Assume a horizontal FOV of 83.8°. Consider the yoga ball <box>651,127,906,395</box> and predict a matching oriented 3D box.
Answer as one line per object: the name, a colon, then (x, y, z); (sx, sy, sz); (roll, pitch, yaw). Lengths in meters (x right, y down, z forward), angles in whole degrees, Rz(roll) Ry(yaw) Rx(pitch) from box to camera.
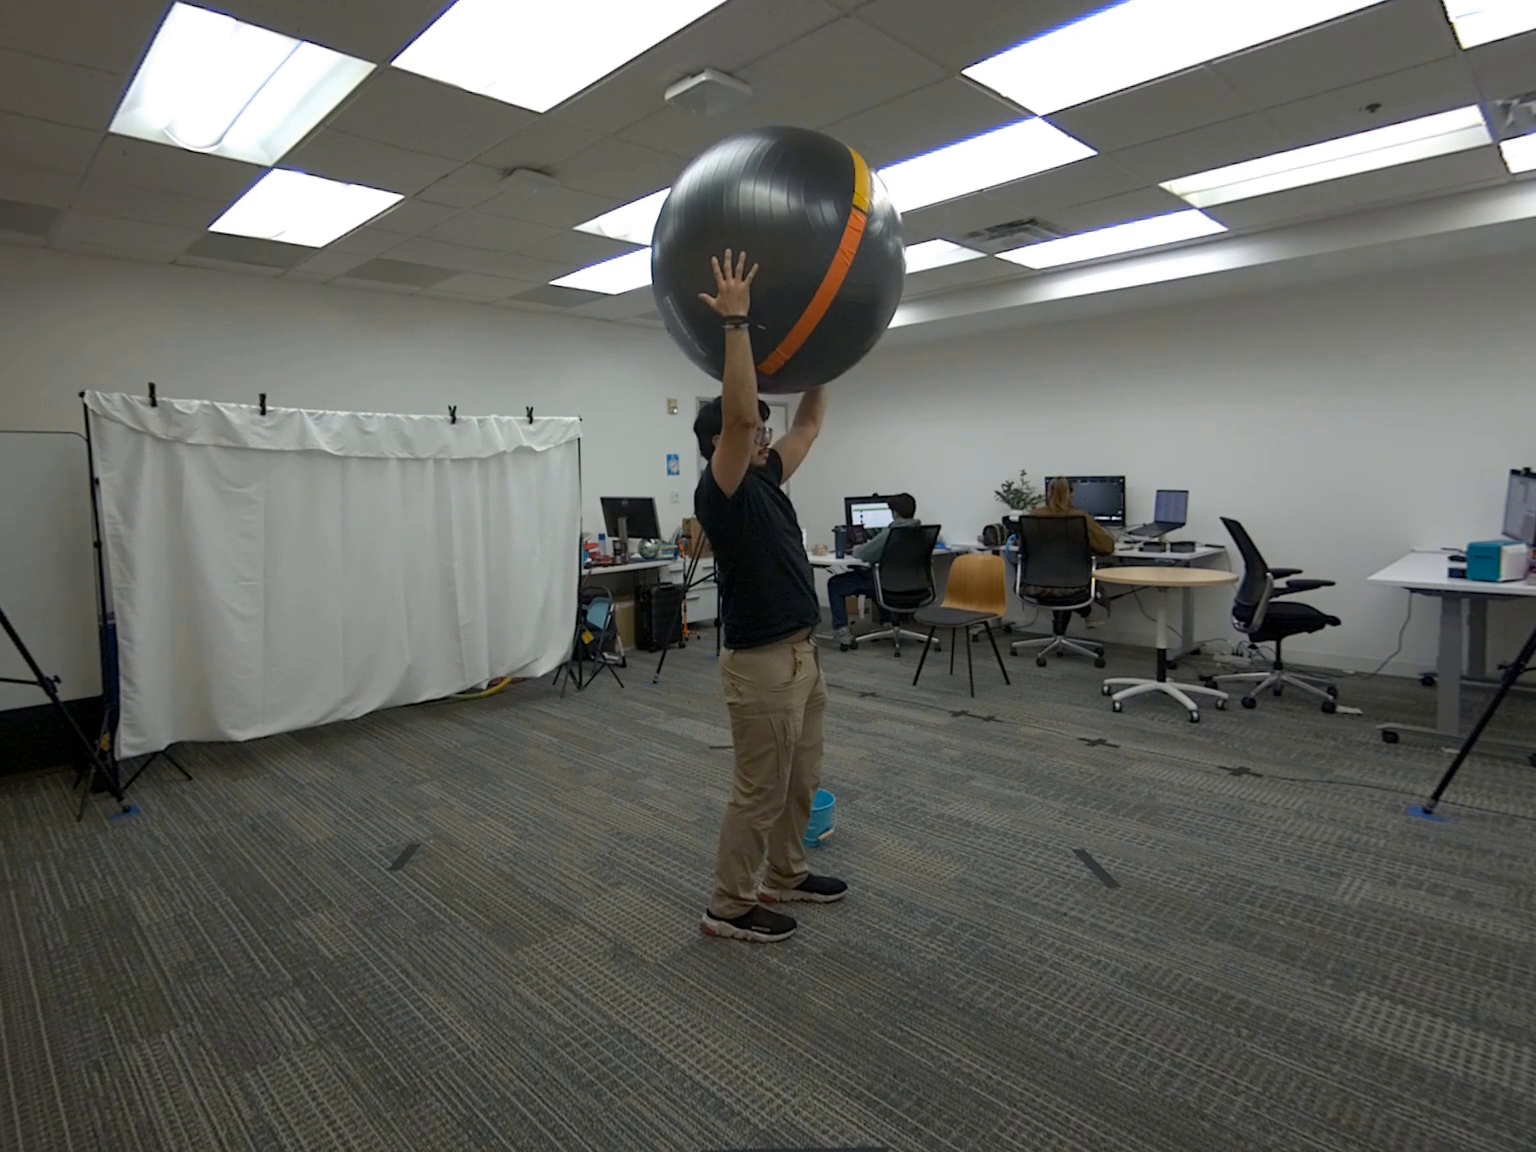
yoga ball: (0.028, -0.922, 2.544); (0.757, 0.755, 0.762); (-1, 5, -2)
